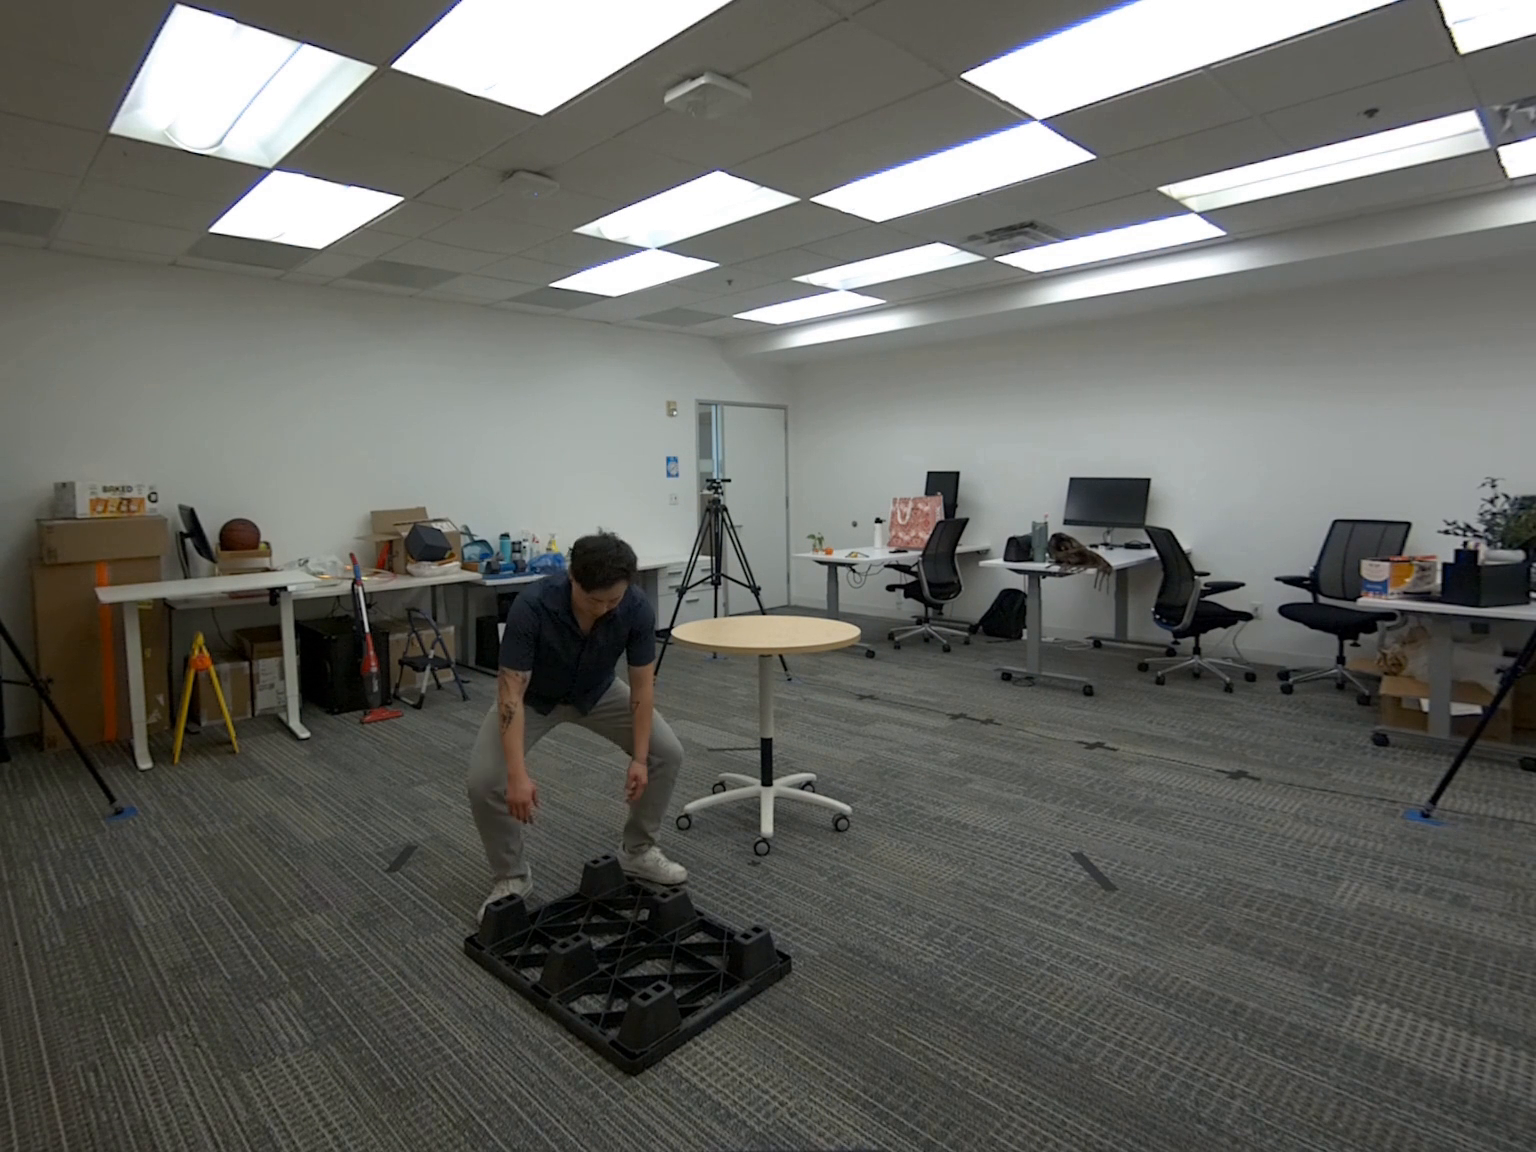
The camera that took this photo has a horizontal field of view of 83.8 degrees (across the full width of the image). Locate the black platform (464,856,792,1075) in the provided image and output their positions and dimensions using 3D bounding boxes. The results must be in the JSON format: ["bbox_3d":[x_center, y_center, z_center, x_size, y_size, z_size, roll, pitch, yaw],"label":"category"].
[{"bbox_3d":[-0.424,1.059,2.488,0.830,0.143,0.589,5,8,42],"label":"black platform"}]
